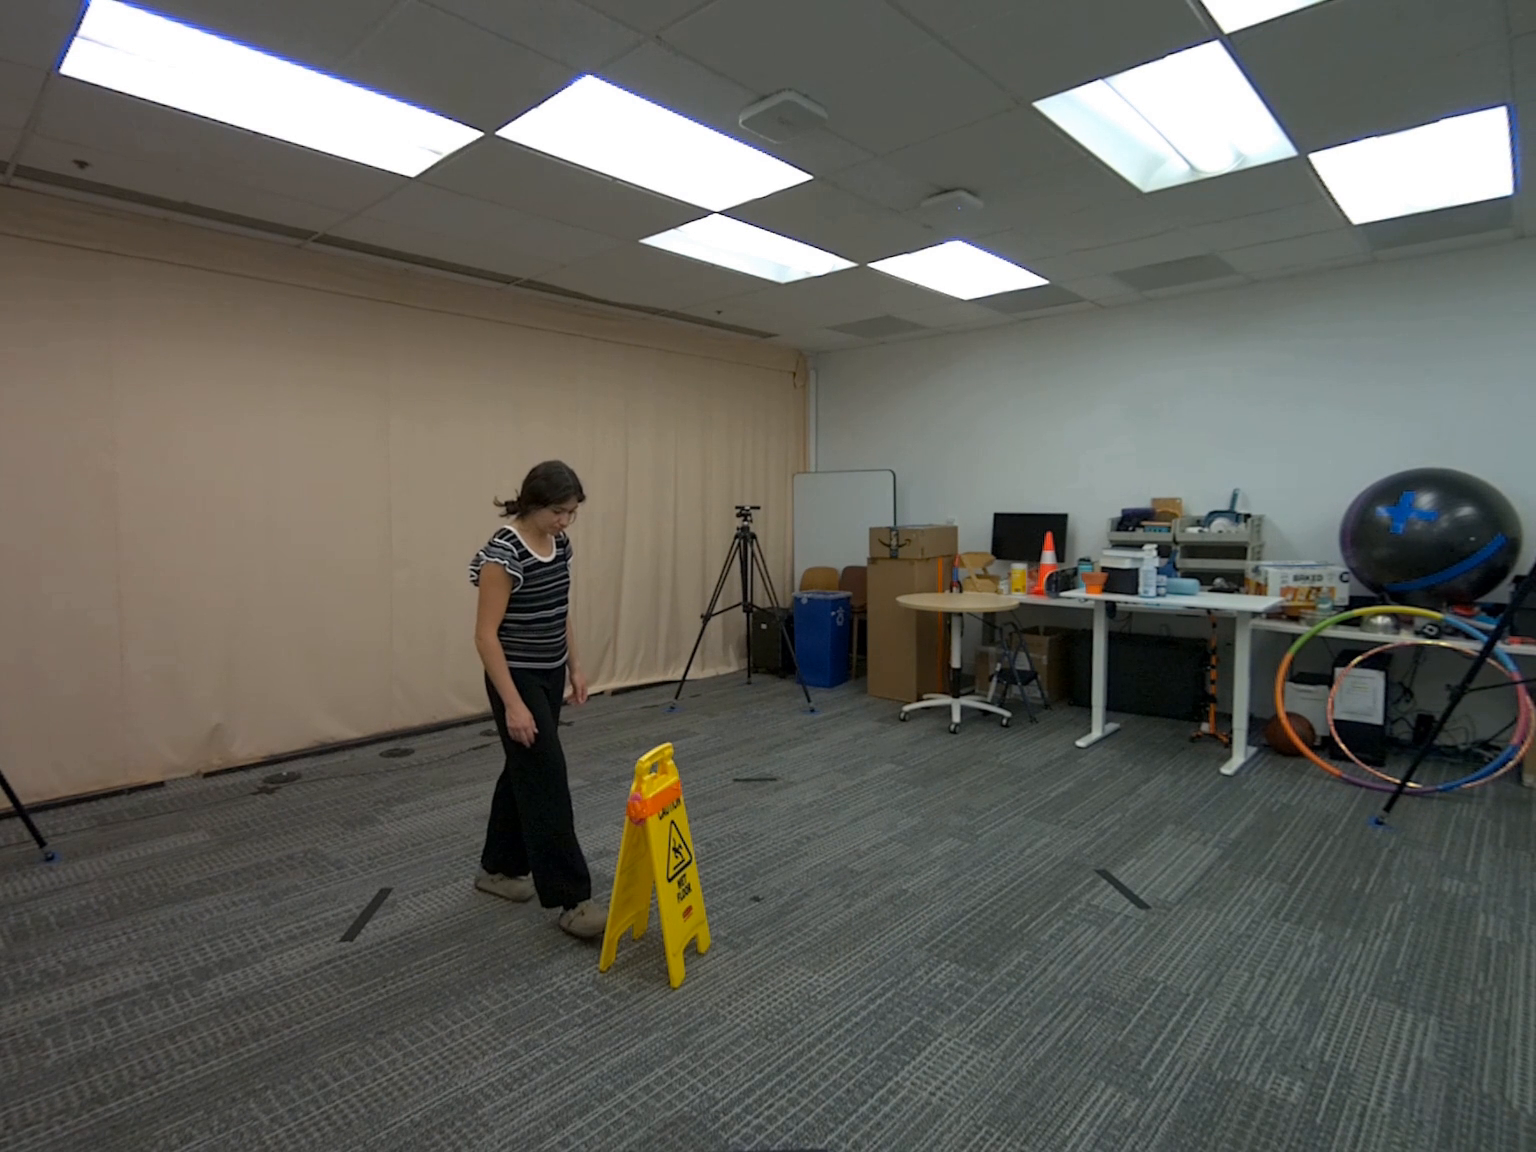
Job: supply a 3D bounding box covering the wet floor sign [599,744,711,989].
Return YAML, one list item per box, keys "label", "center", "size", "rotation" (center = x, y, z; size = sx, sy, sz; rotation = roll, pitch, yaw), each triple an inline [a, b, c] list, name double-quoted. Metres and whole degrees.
- label: "wet floor sign"
  center: [-0.348, 0.857, 2.579]
  size: [0.296, 0.645, 0.276]
  rotation: [0, 2, 20]
